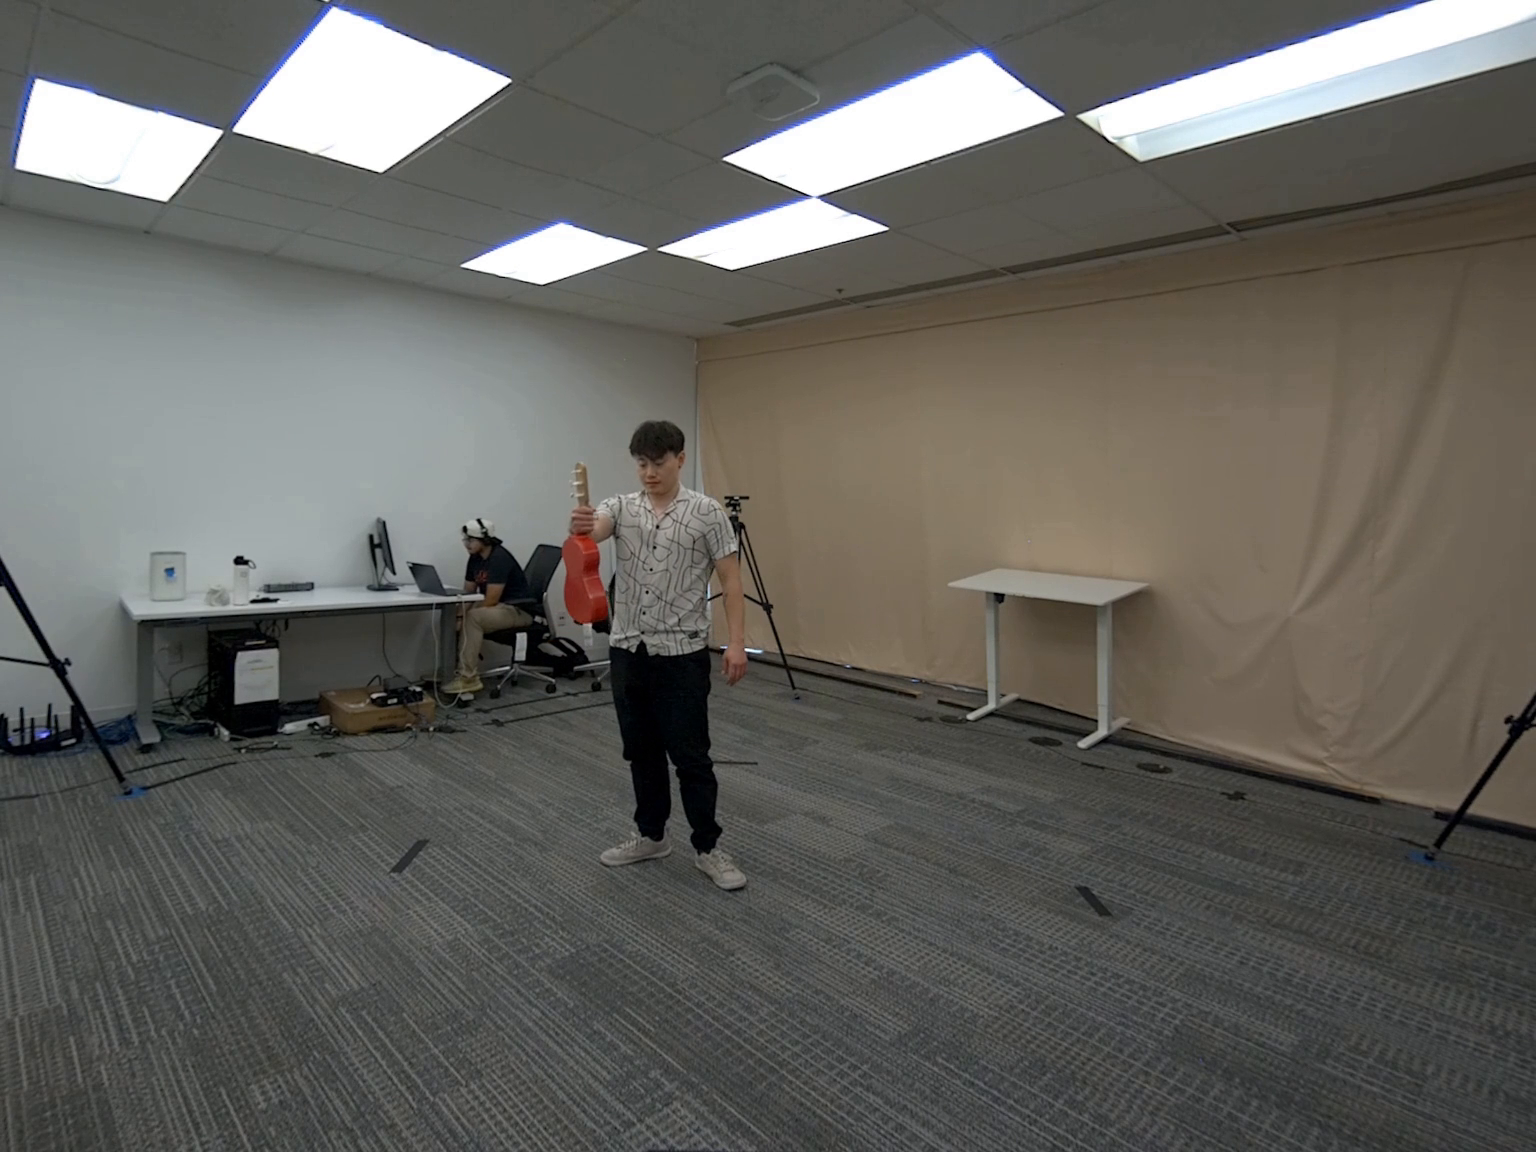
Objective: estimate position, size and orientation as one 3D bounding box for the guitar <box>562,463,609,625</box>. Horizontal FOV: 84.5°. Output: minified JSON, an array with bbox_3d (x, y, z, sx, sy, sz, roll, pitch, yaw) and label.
[{"bbox_3d":[-0.605,-0.095,2.650,0.069,0.497,0.197,-8,3,-35],"label":"guitar"}]
